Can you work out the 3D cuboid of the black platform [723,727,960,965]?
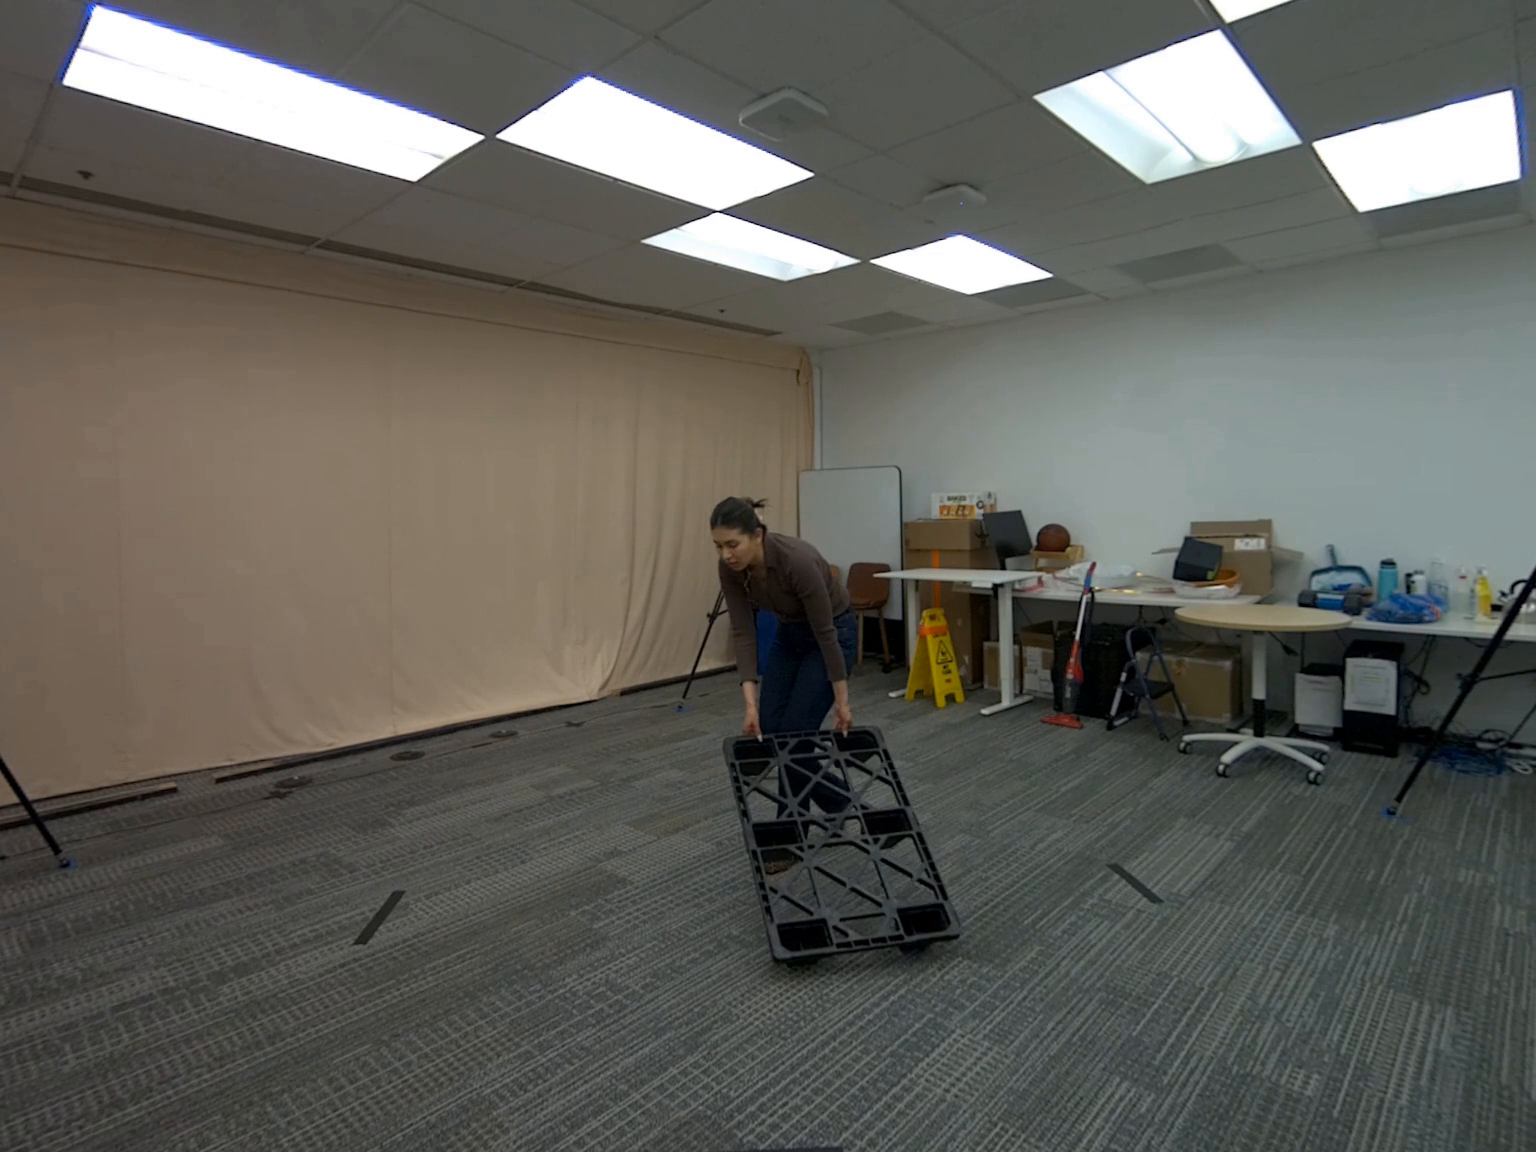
[{"bbox_3d":[0.214,0.874,2.825,0.597,0.141,0.828,-3,41,-14],"label":"black platform"}]
